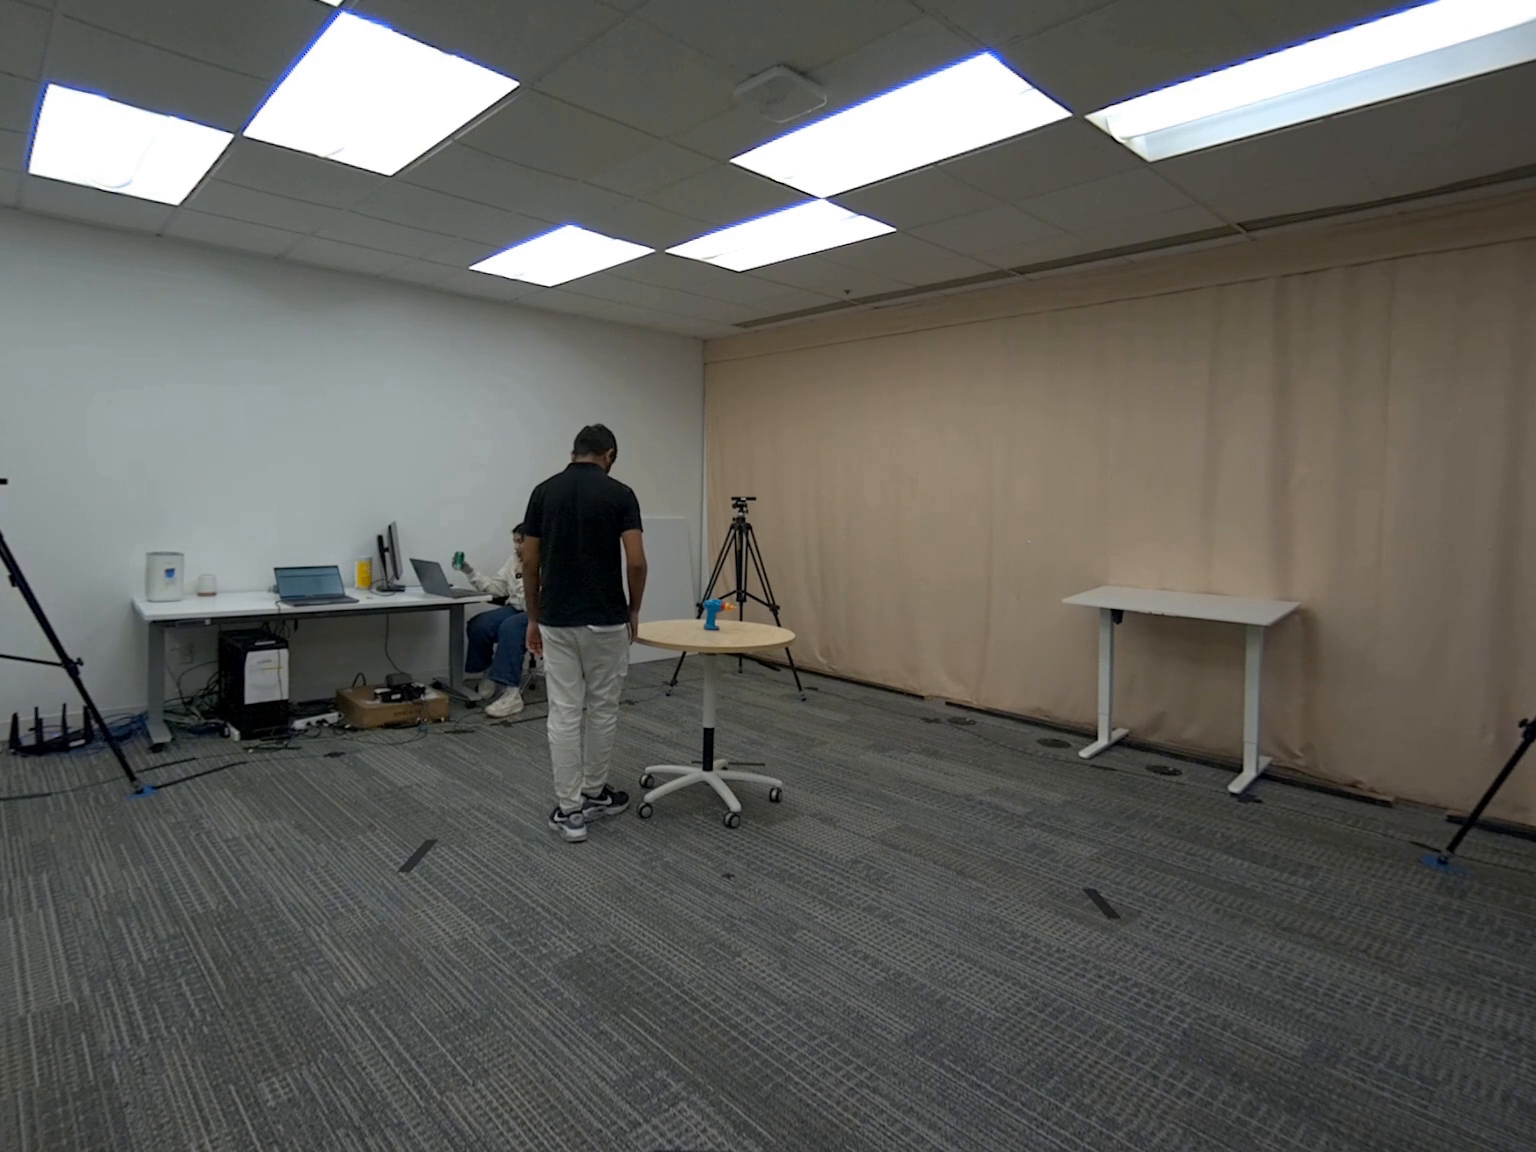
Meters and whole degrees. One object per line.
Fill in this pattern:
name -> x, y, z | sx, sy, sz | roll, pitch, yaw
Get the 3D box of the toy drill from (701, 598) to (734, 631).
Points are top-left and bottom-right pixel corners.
toy drill -> -0.237, 0.180, 3.907 | 0.171, 0.146, 0.060 | 2, 1, 13
